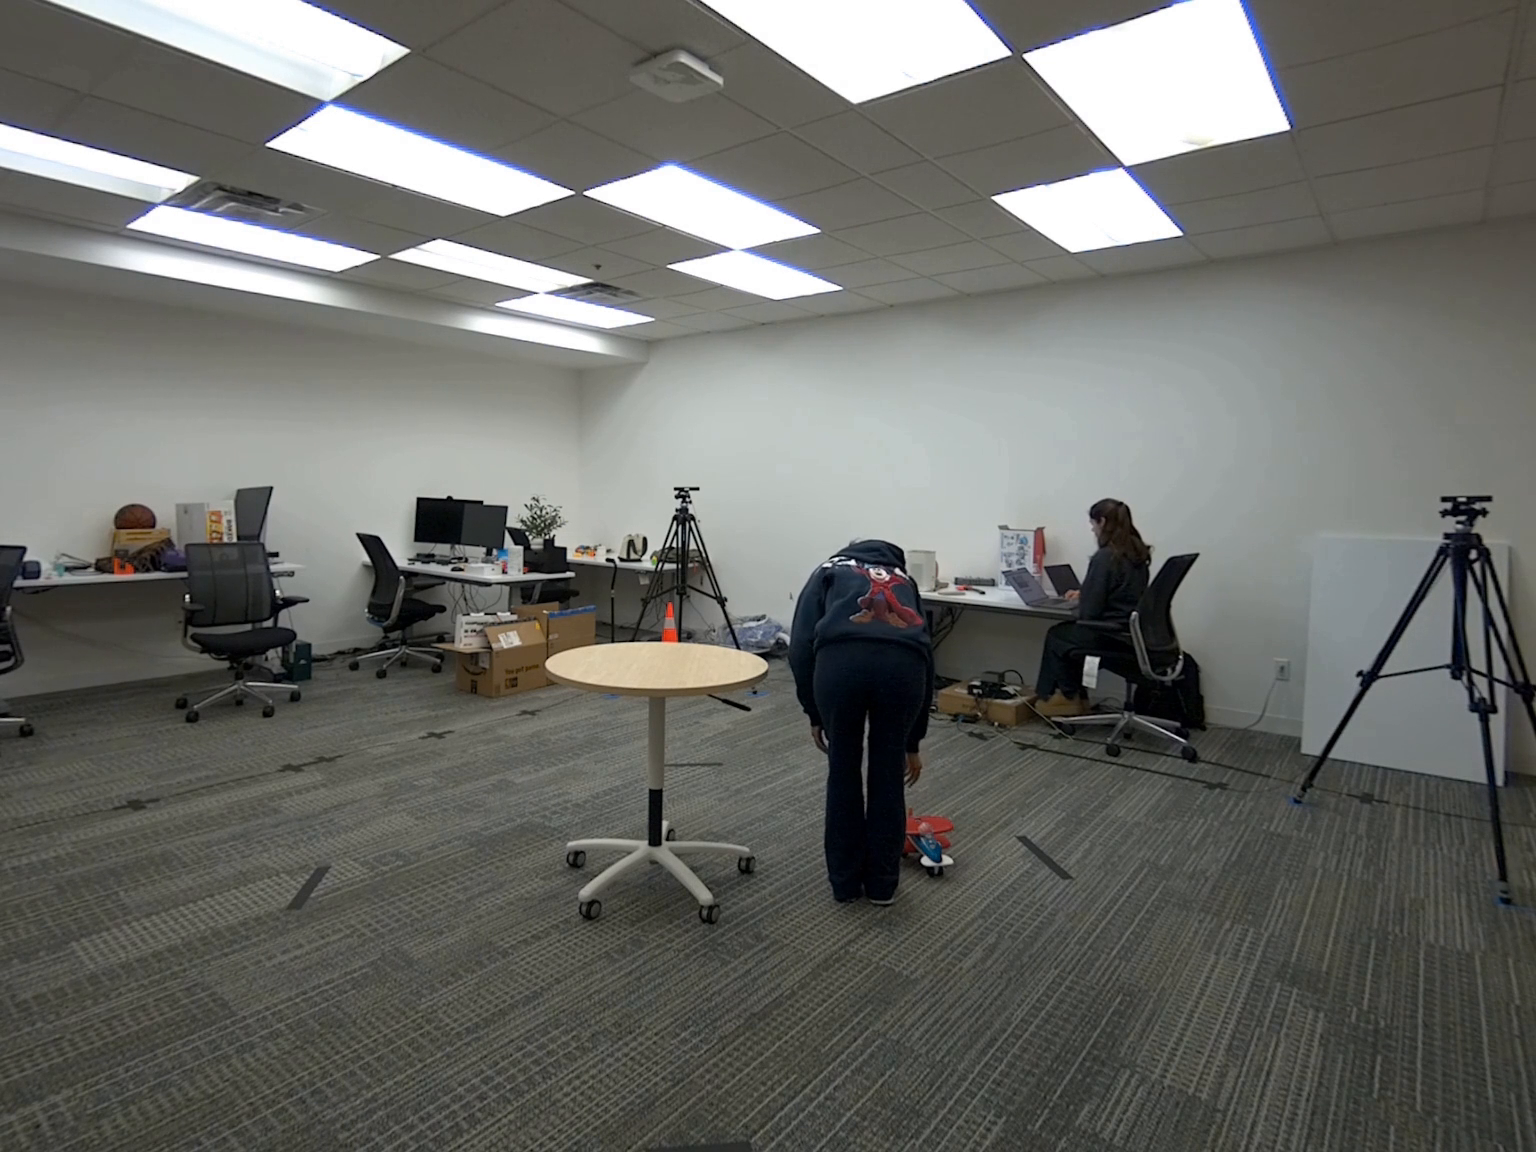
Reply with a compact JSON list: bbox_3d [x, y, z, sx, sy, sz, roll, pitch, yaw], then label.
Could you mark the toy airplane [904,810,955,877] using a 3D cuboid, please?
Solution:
[{"bbox_3d":[0.596,1.002,3.188,0.244,0.156,0.268,-4,8,-43],"label":"toy airplane"}]
